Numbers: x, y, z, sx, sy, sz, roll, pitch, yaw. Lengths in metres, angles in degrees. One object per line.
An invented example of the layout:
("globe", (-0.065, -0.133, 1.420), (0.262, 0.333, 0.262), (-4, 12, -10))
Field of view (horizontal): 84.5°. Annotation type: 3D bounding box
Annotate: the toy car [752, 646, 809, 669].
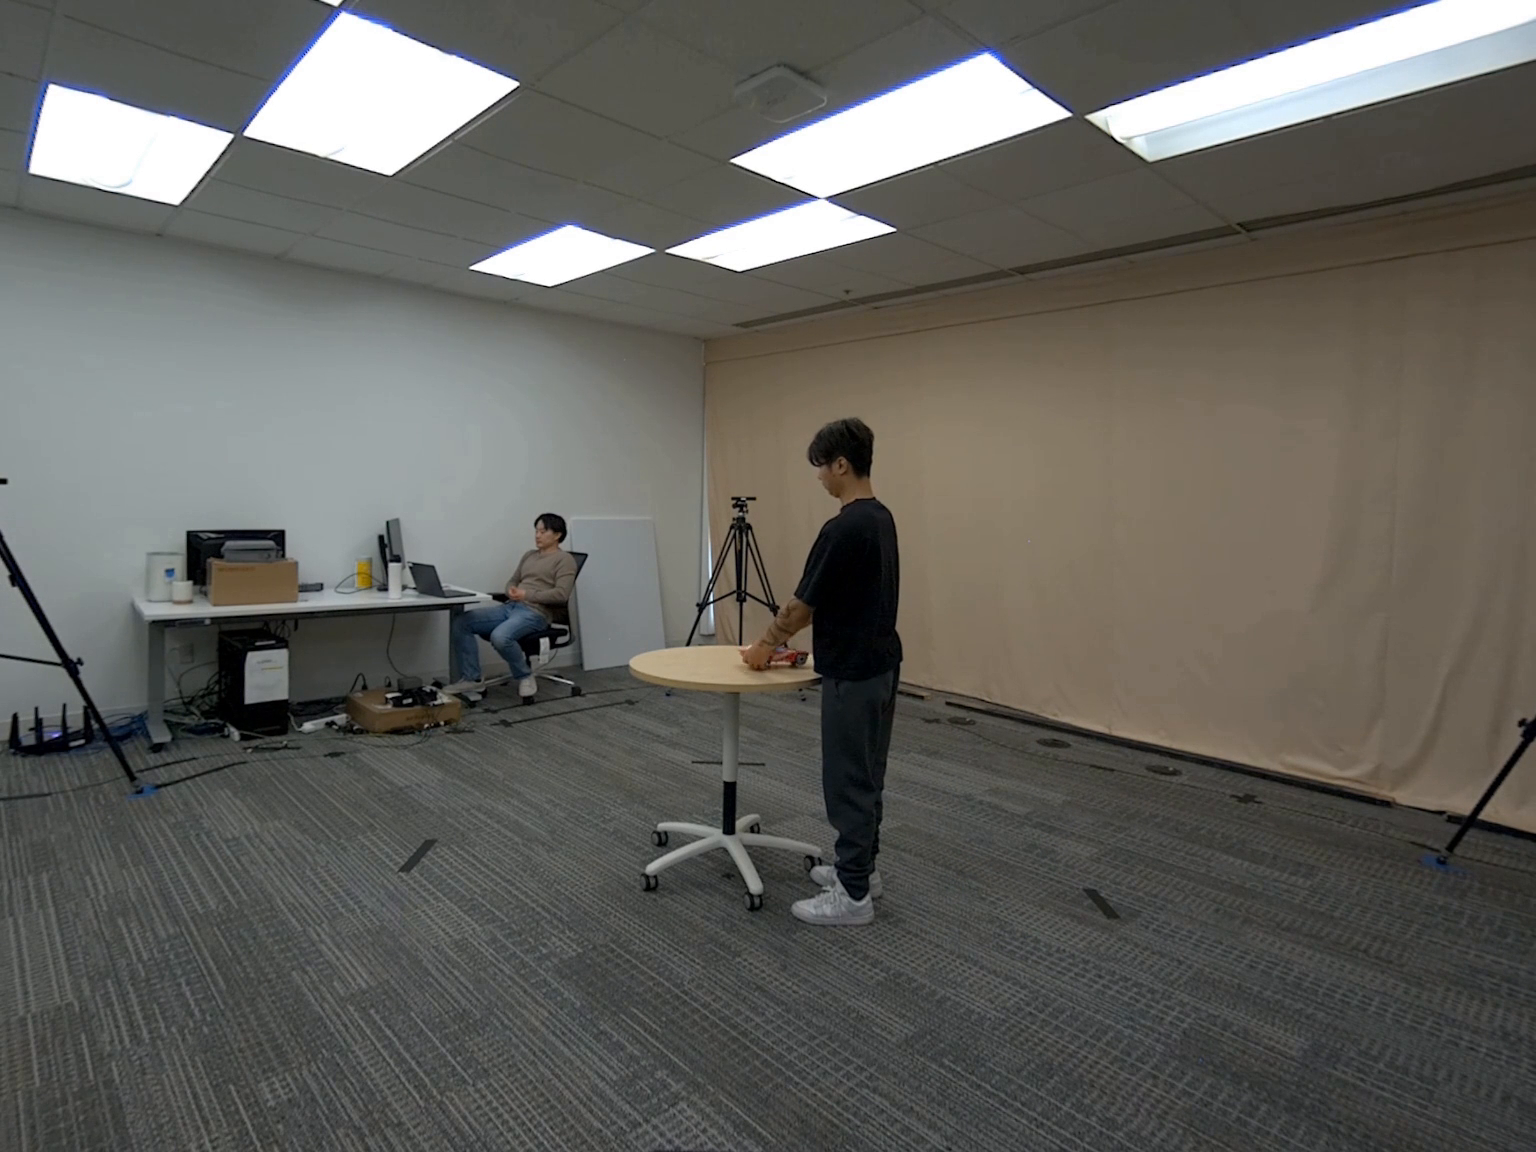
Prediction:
("toy car", (0.005, 0.291, 3.059), (0.253, 0.083, 0.130), (10, -6, -7))
